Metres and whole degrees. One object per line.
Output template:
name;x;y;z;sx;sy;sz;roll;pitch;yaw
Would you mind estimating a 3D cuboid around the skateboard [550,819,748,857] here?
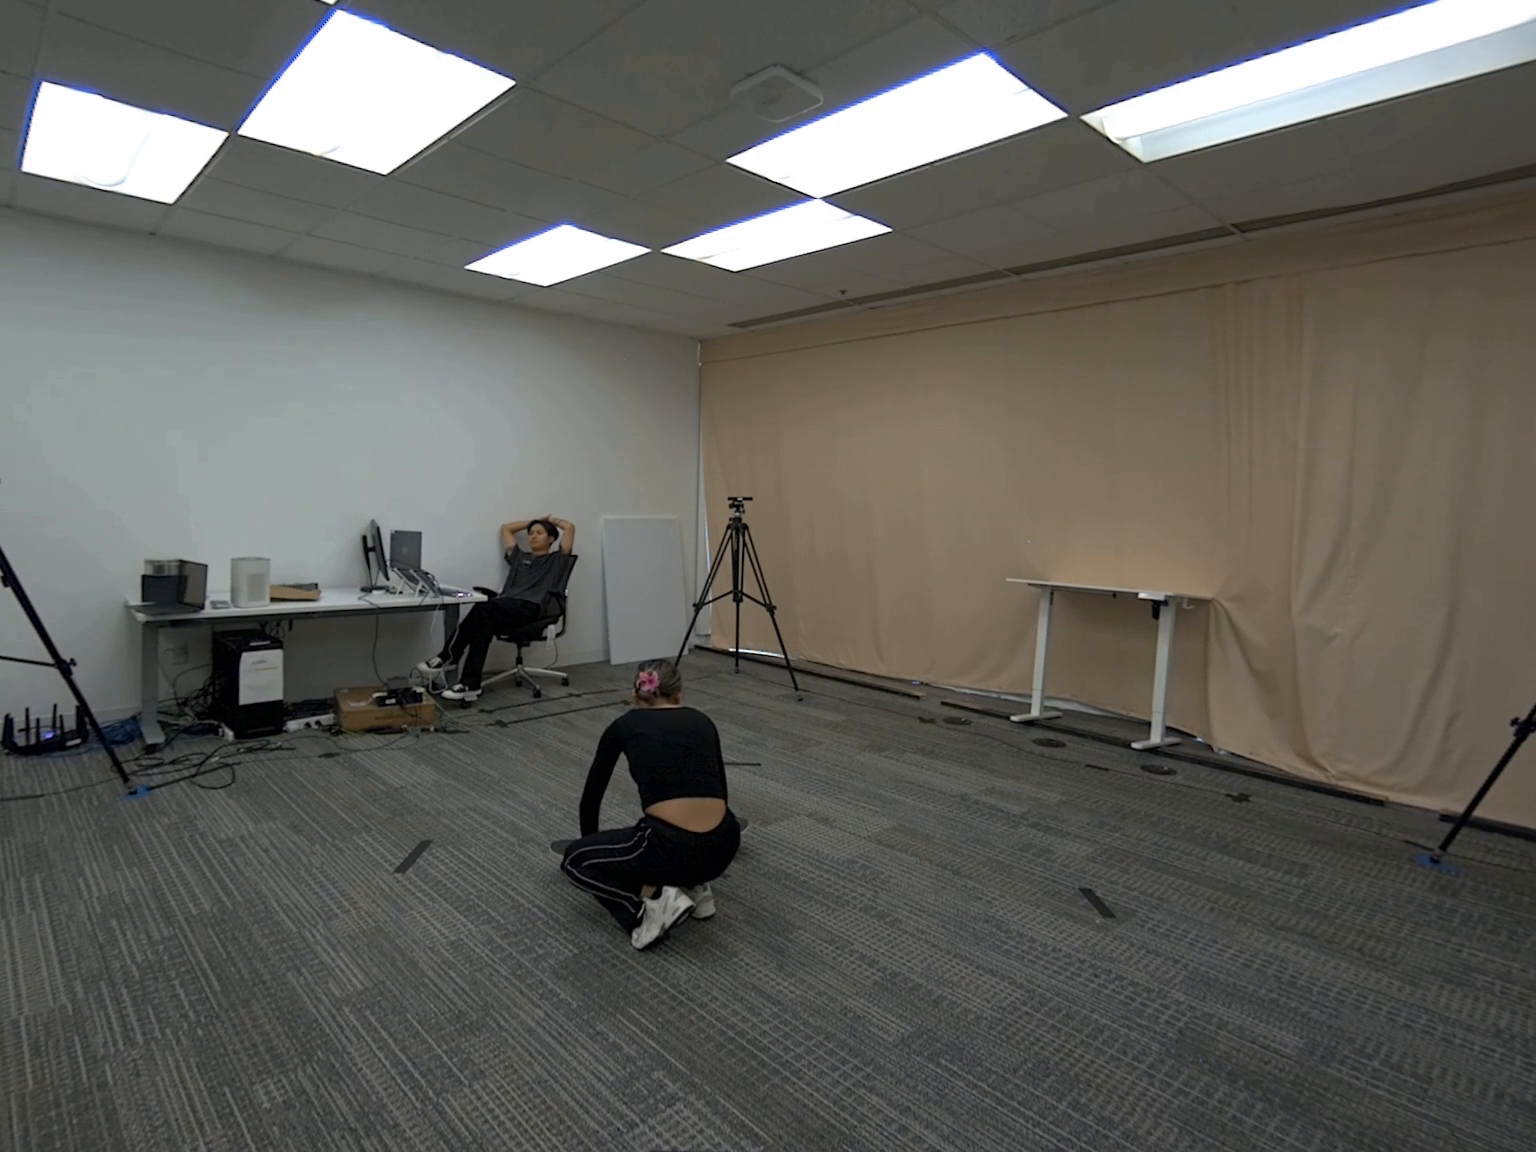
skateboard;-0.437;1.035;3.213;0.772;0.110;0.197;-1;5;-24
